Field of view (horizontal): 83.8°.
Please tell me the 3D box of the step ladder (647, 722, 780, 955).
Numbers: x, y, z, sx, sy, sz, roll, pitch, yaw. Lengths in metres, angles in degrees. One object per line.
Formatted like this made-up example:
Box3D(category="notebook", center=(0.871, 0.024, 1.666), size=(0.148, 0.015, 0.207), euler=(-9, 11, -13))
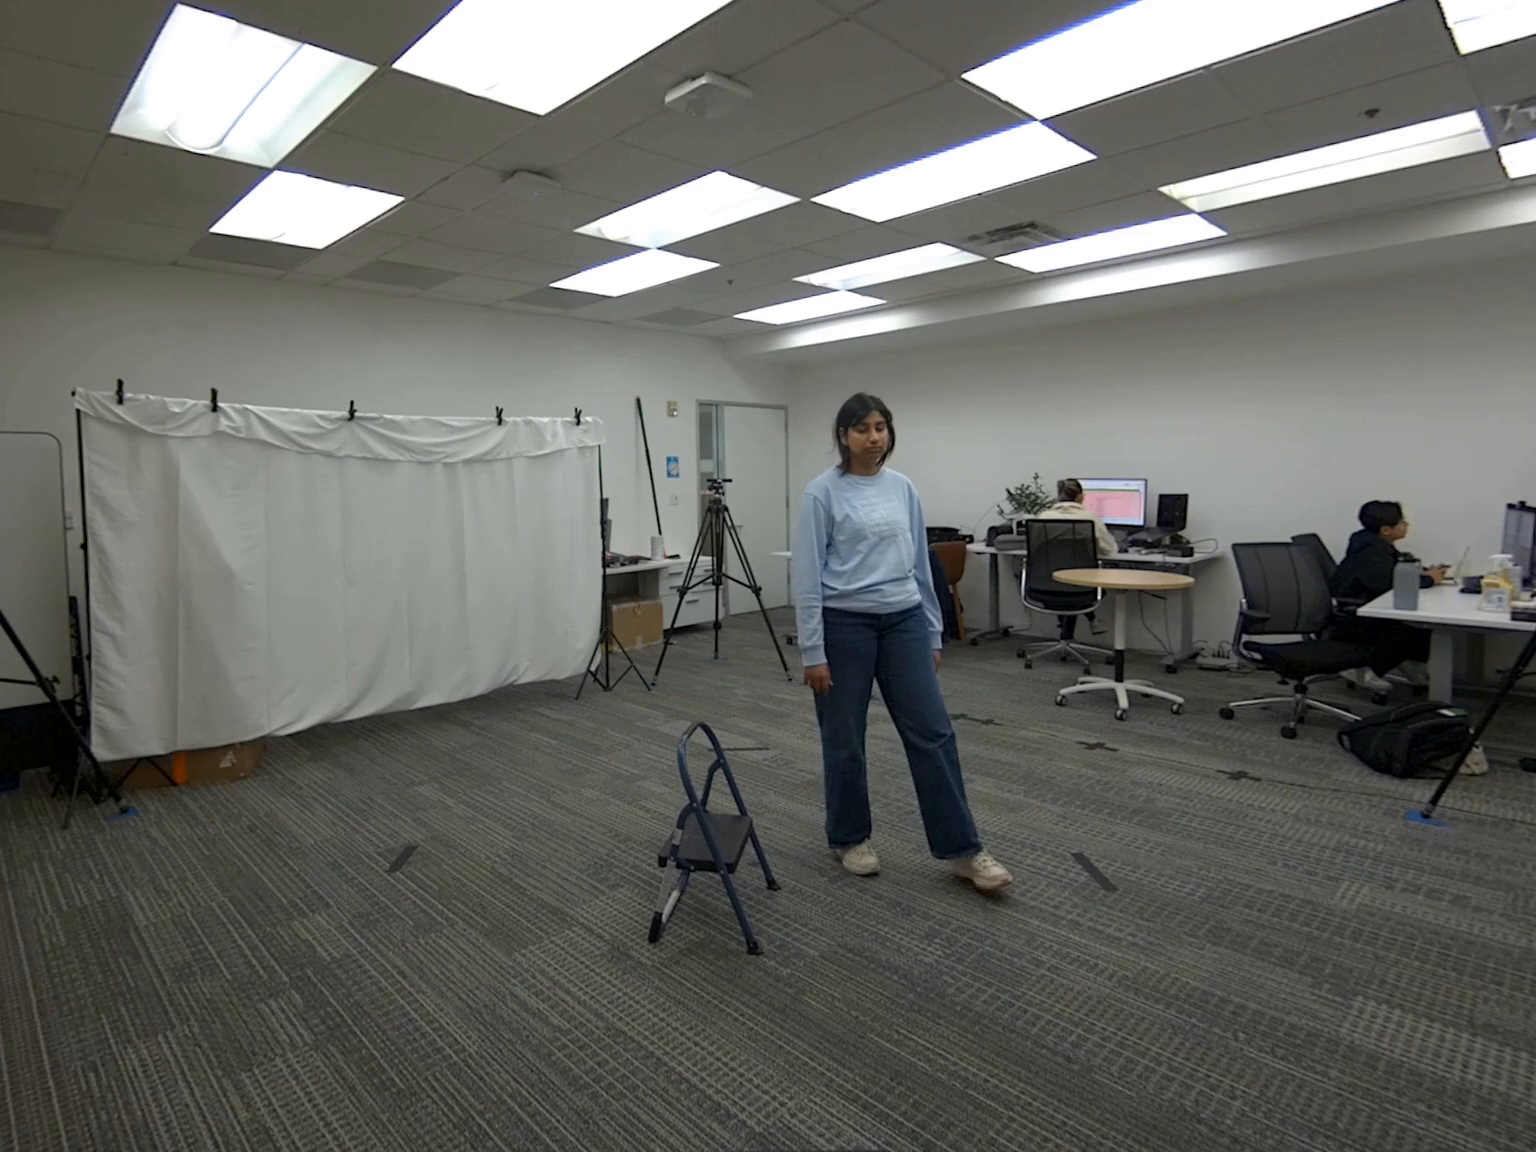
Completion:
Box3D(category="step ladder", center=(-0.170, 0.788, 2.729), size=(0.353, 0.604, 0.428), euler=(0, 5, 9))
